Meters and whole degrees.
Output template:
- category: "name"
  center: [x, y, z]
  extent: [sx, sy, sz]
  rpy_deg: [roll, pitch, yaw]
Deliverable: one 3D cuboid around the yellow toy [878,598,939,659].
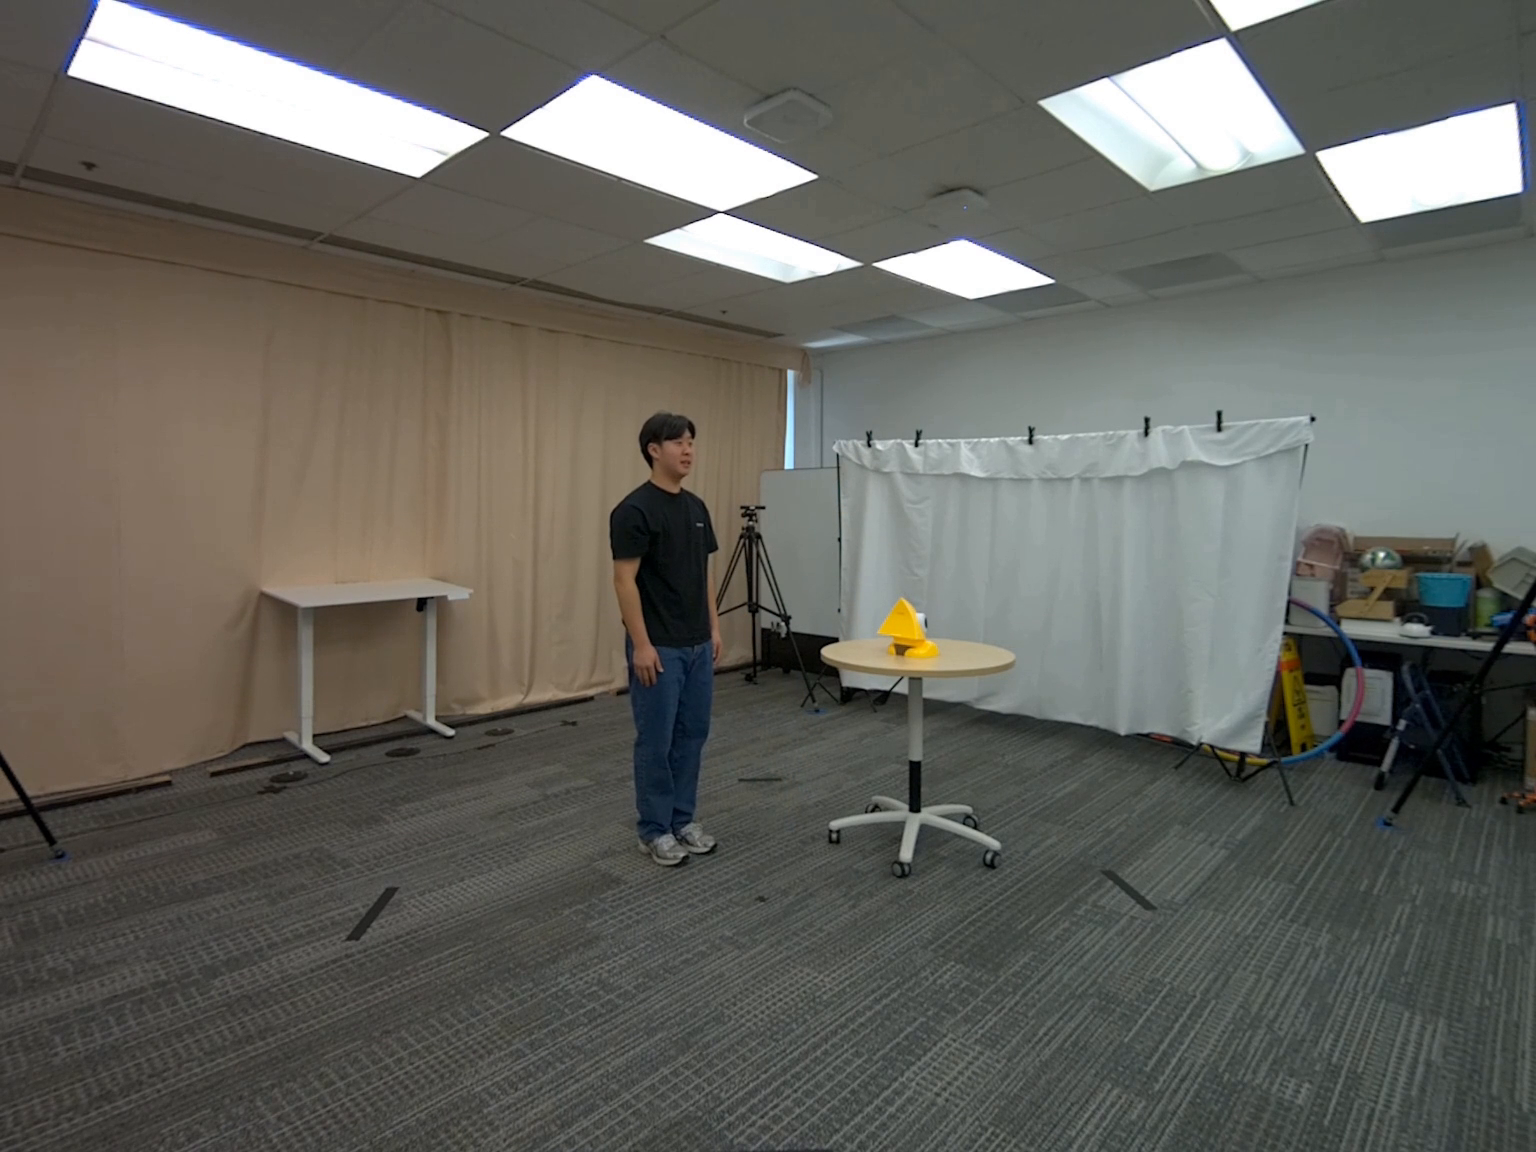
- category: "yellow toy"
  center: [0.584, 0.201, 3.388]
  extent: [0.187, 0.230, 0.211]
  rpy_deg: [-3, 4, -40]
